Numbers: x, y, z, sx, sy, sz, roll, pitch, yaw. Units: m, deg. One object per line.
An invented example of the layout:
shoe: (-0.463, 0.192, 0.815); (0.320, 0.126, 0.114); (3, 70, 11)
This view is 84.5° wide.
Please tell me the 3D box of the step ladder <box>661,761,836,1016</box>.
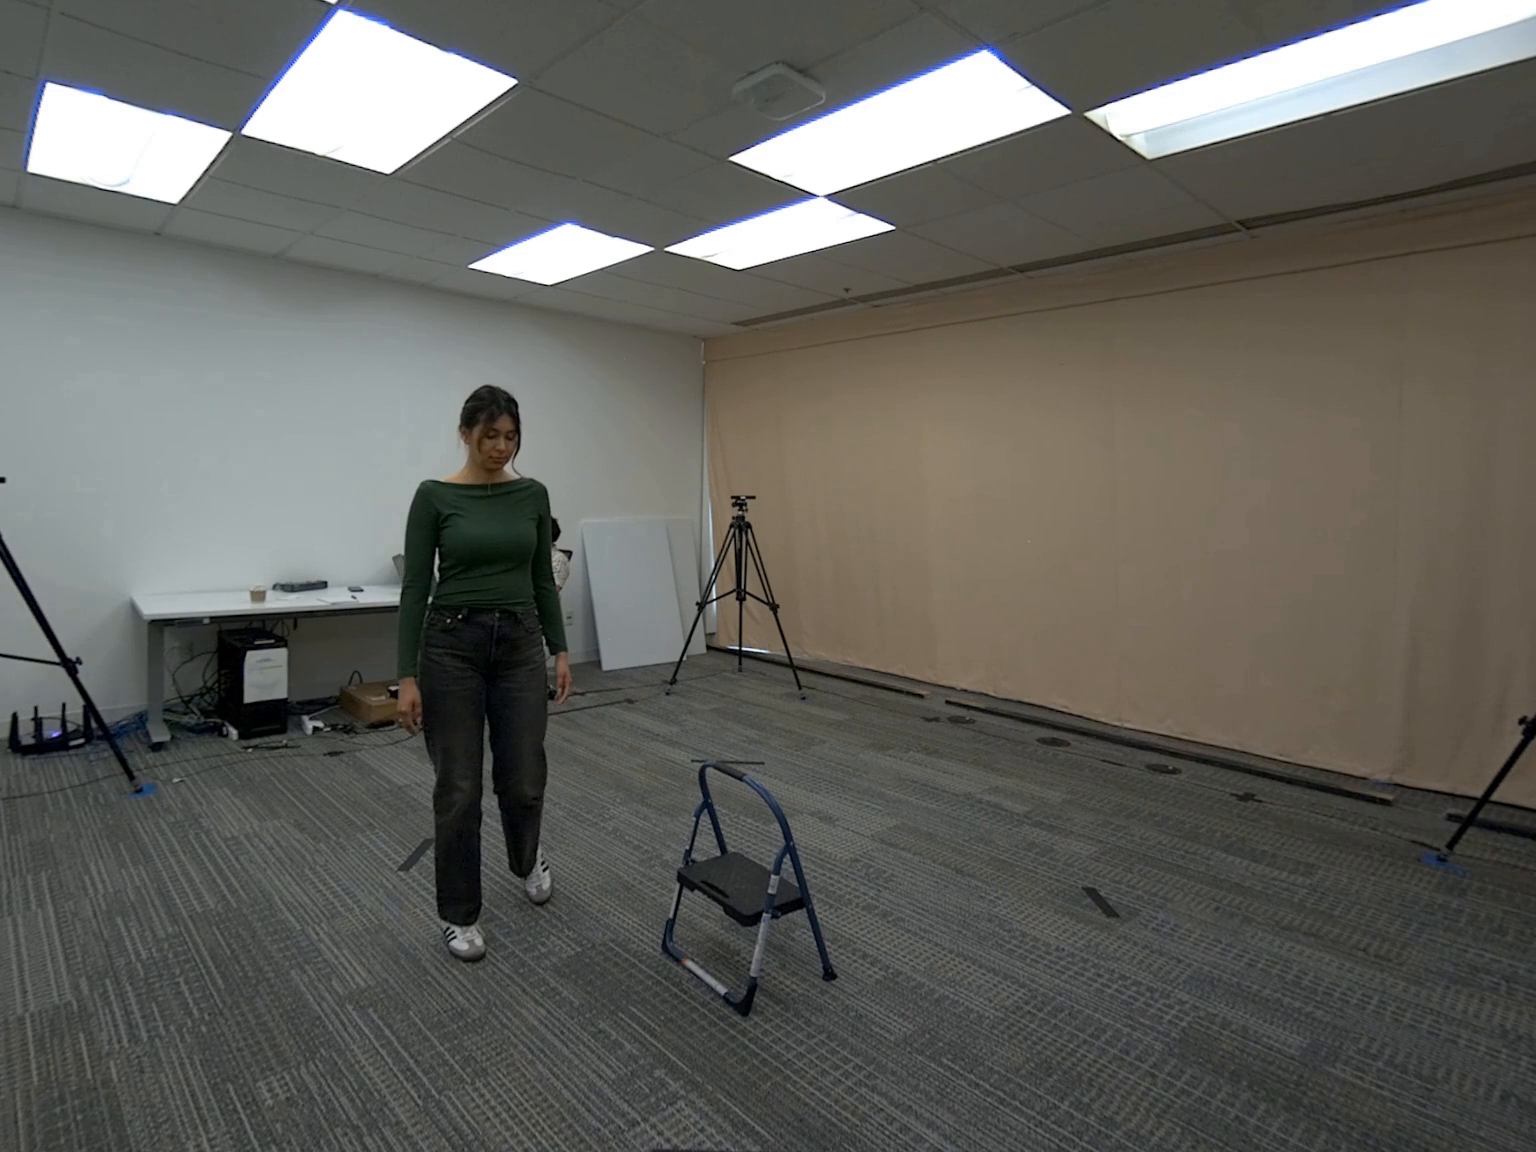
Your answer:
step ladder: (-0.062, 0.859, 2.496); (0.341, 0.604, 0.442); (-2, 5, -40)
